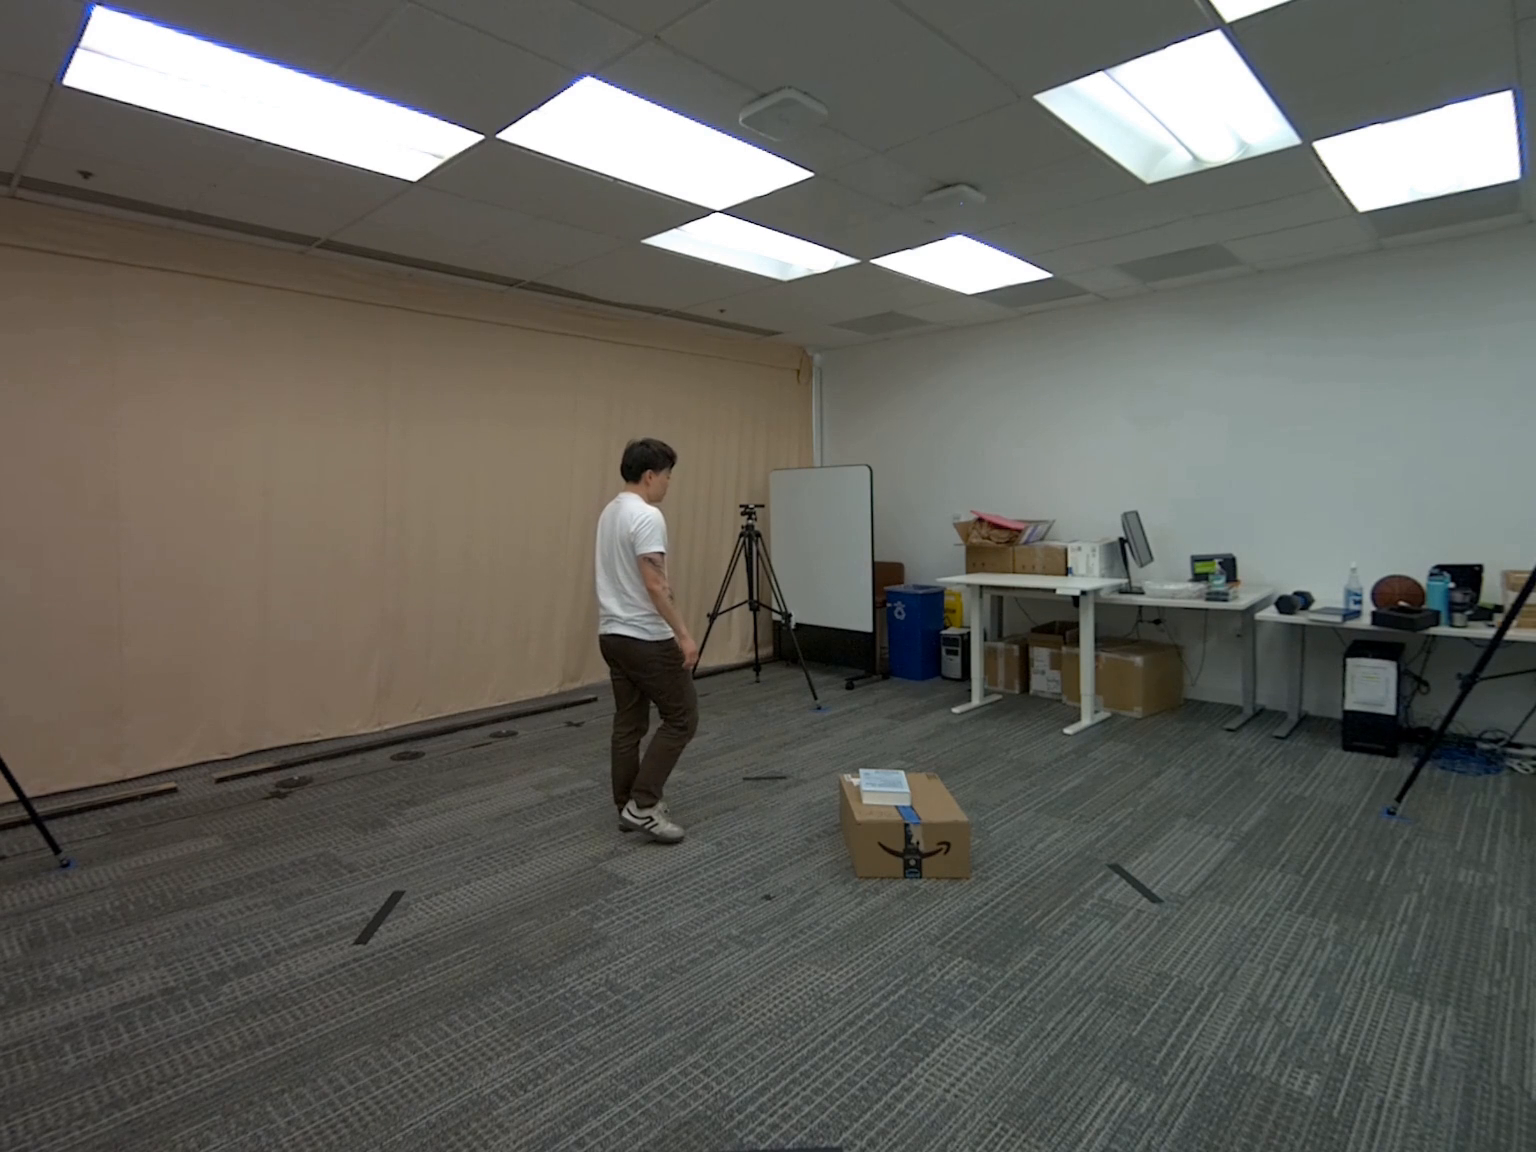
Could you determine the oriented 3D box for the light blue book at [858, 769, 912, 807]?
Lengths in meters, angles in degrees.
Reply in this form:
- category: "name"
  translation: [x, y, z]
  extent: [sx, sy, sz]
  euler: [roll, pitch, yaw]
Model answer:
- category: "light blue book"
  translation: [0.481, 0.857, 3.429]
  extent: [0.193, 0.059, 0.260]
  euler: [0, 5, 5]
